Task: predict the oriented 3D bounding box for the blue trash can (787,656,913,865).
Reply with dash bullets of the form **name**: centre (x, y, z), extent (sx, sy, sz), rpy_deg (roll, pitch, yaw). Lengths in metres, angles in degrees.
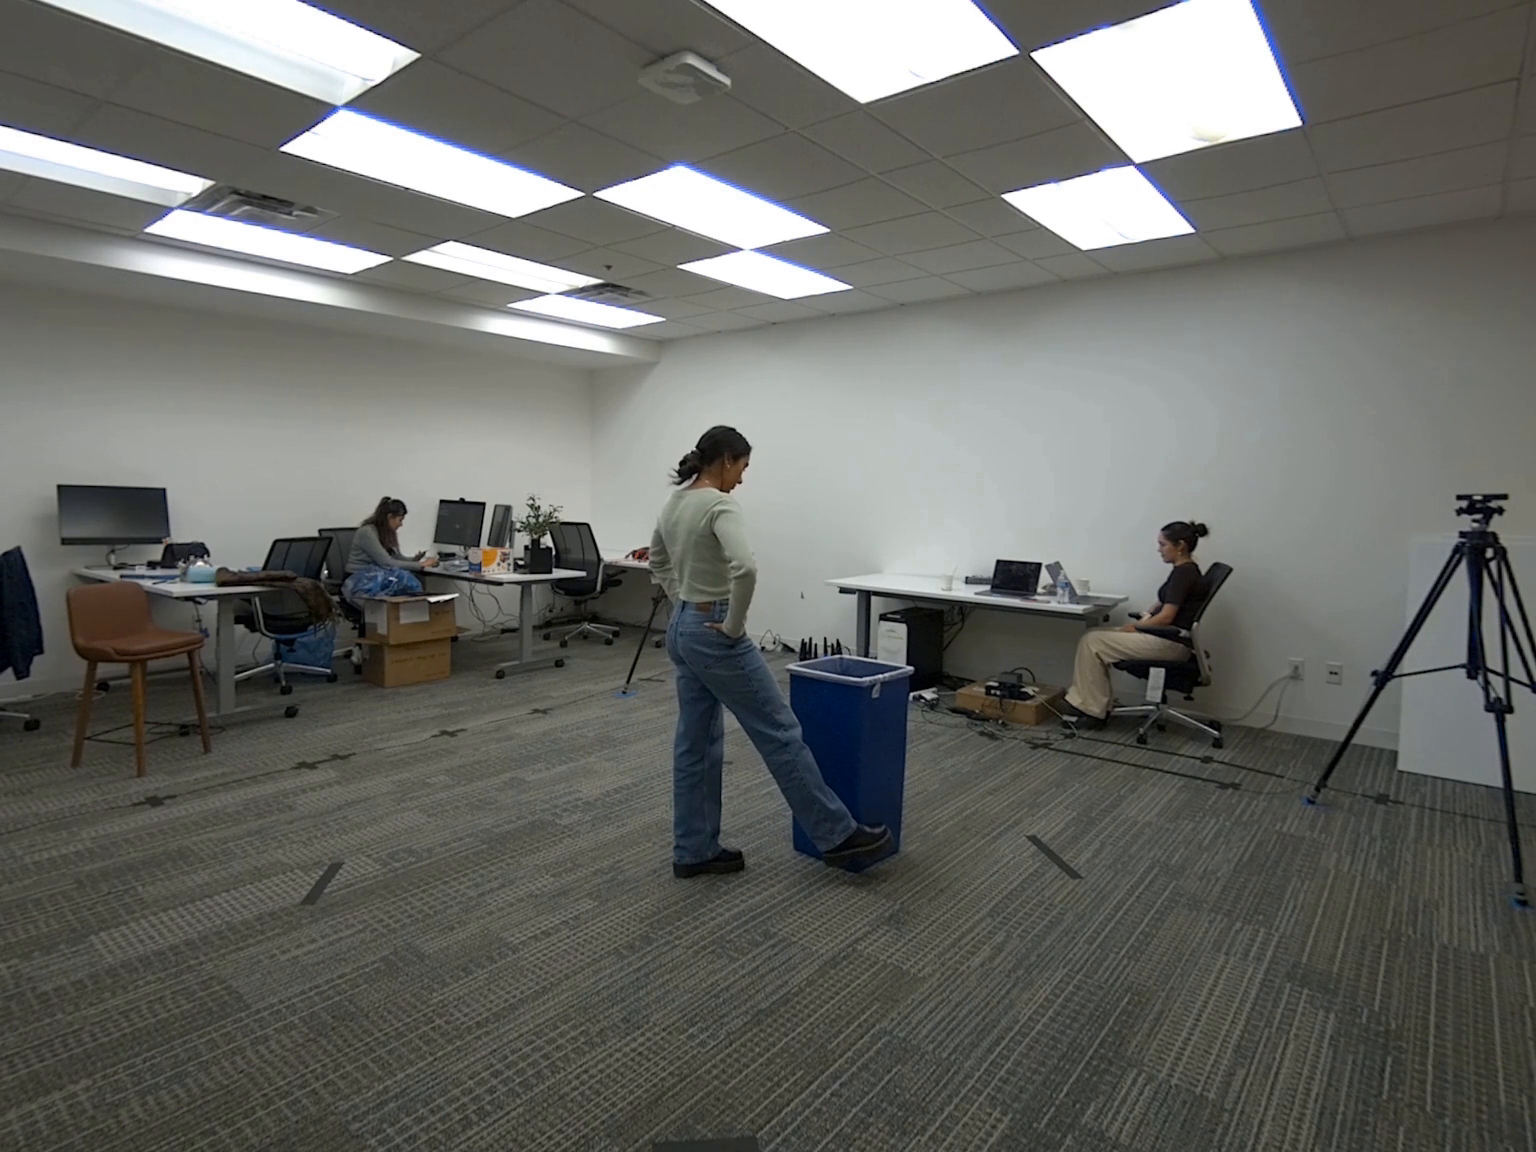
- **blue trash can**: centre (0.304, 0.697, 3.286), extent (0.391, 0.712, 0.363), rpy_deg (3, 4, 42)
